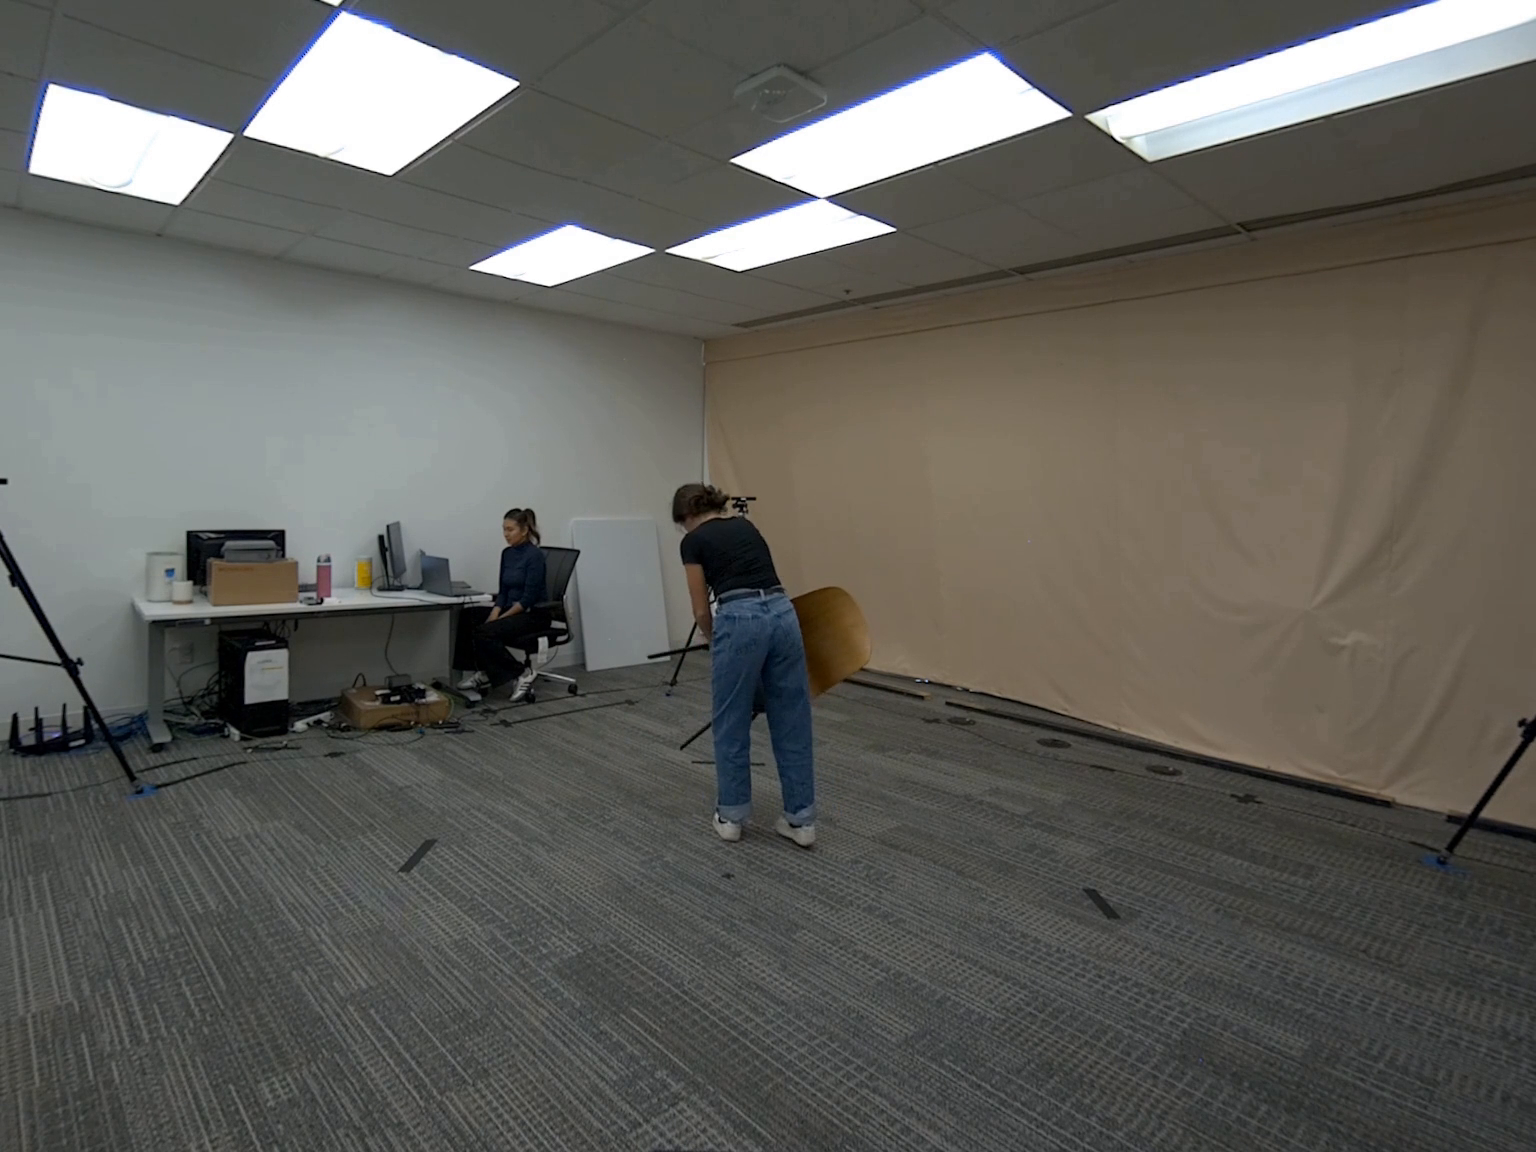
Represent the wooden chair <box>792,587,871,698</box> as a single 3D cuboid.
[{"bbox_3d":[-0.031,0.388,3.725,0.884,0.485,0.511,-29,-17,31],"label":"wooden chair"}]
